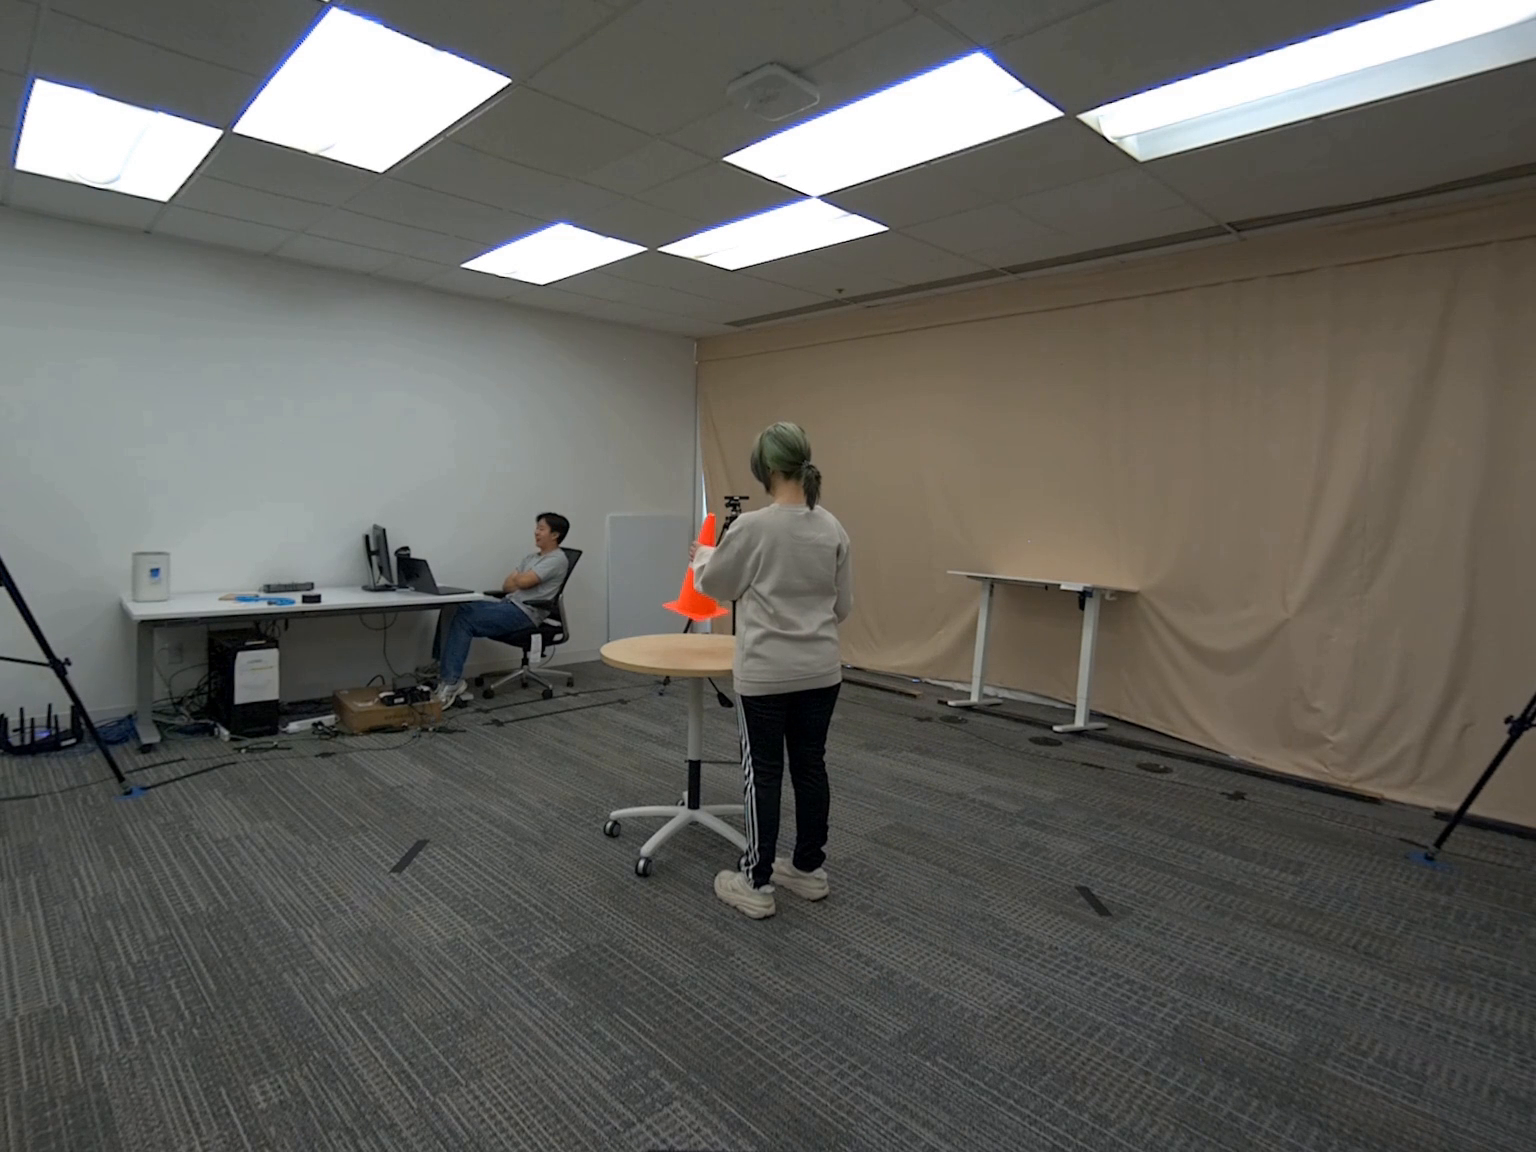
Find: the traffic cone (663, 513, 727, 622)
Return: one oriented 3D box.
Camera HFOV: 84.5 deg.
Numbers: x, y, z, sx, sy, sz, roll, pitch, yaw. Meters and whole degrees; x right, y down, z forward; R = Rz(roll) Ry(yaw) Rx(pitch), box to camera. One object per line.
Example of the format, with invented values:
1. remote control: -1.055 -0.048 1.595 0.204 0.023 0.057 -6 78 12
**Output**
1. traffic cone: -0.254 -0.047 3.242 0.200 0.381 0.209 -1 17 -45
